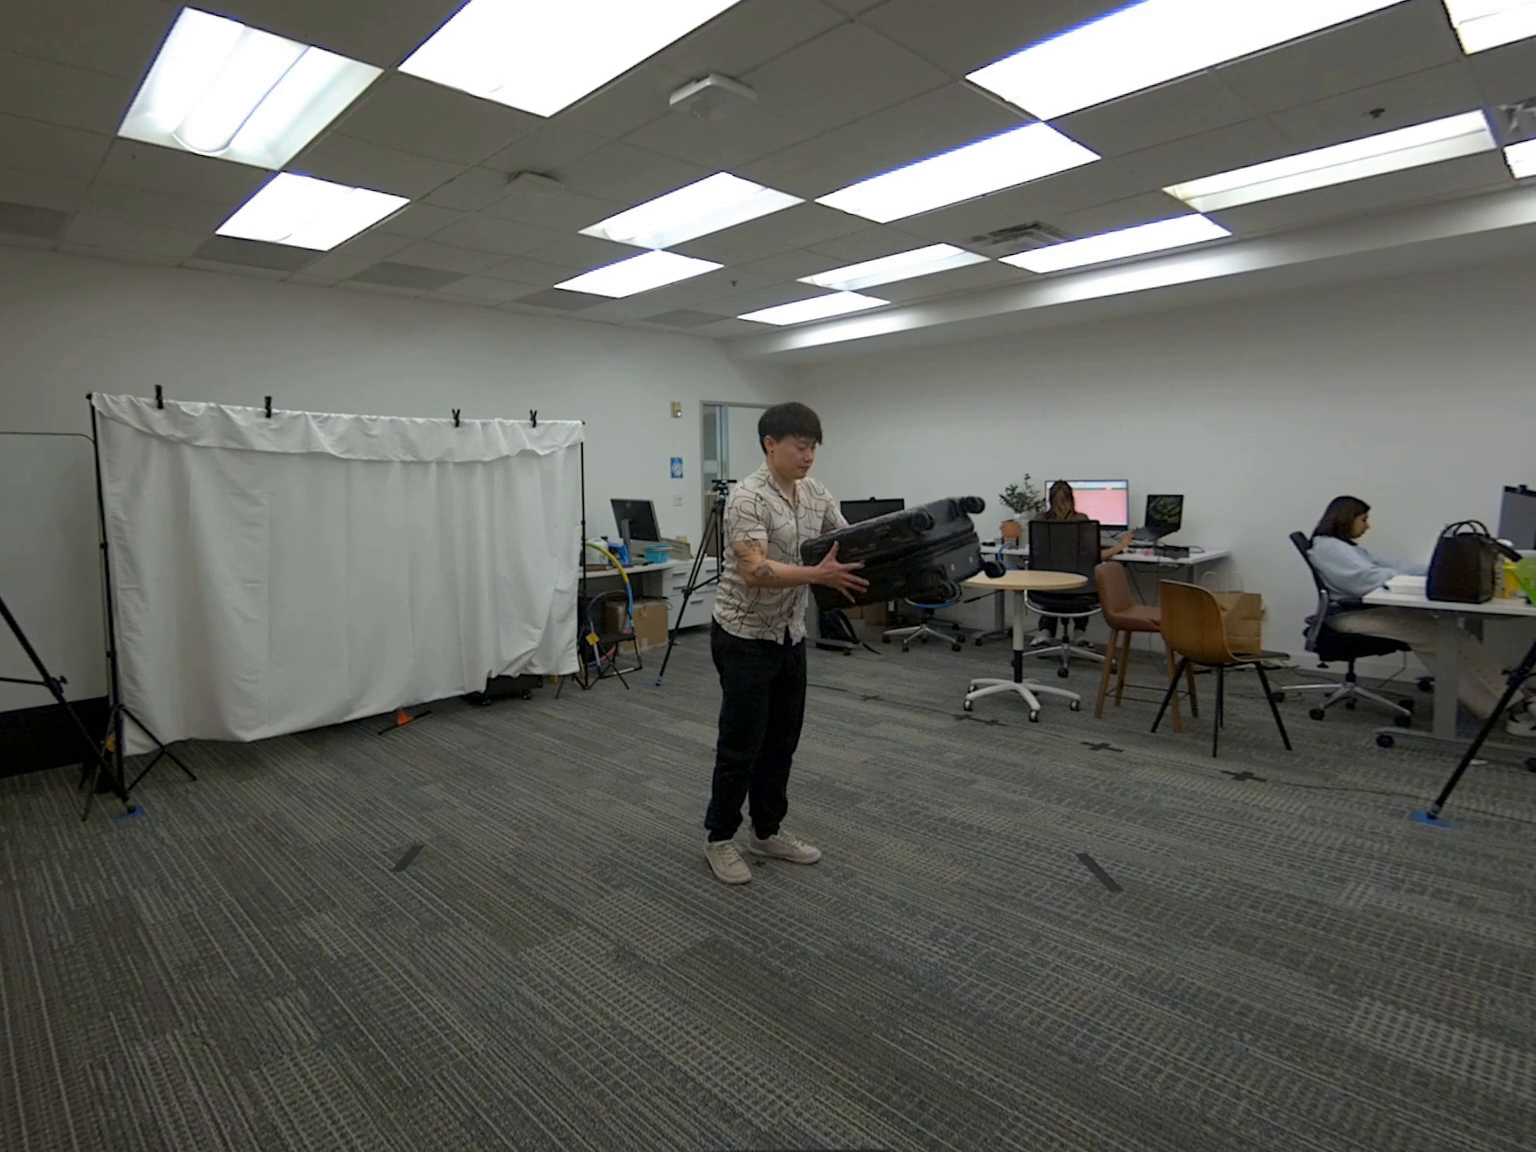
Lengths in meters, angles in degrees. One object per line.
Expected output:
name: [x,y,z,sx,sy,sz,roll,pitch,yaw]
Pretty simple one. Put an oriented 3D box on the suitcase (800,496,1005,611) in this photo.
suitcase: [0.416,-0.061,2.727,0.367,0.248,0.561,-16,3,-42]
